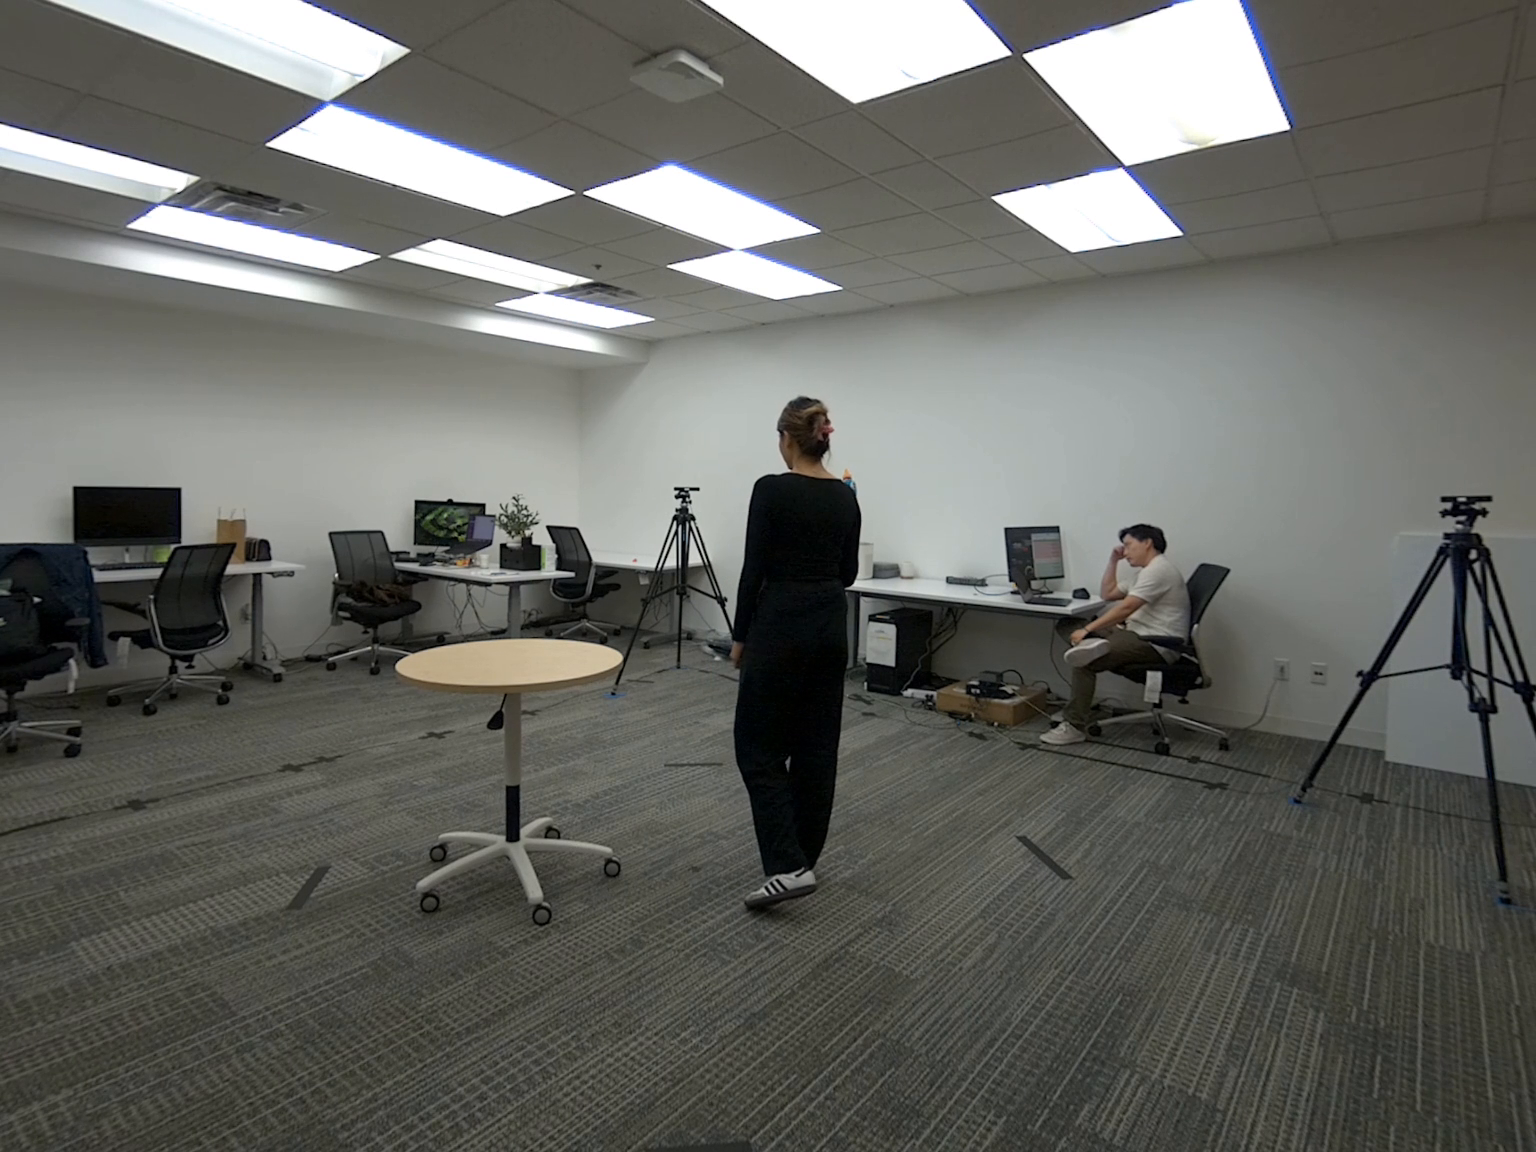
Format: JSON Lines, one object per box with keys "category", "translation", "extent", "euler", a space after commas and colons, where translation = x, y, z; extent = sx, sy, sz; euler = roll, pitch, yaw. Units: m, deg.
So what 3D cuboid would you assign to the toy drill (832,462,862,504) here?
{"category": "toy drill", "translation": [0.286, -0.327, 3.277], "extent": [0.059, 0.175, 0.146], "euler": [14, -38, -25]}
